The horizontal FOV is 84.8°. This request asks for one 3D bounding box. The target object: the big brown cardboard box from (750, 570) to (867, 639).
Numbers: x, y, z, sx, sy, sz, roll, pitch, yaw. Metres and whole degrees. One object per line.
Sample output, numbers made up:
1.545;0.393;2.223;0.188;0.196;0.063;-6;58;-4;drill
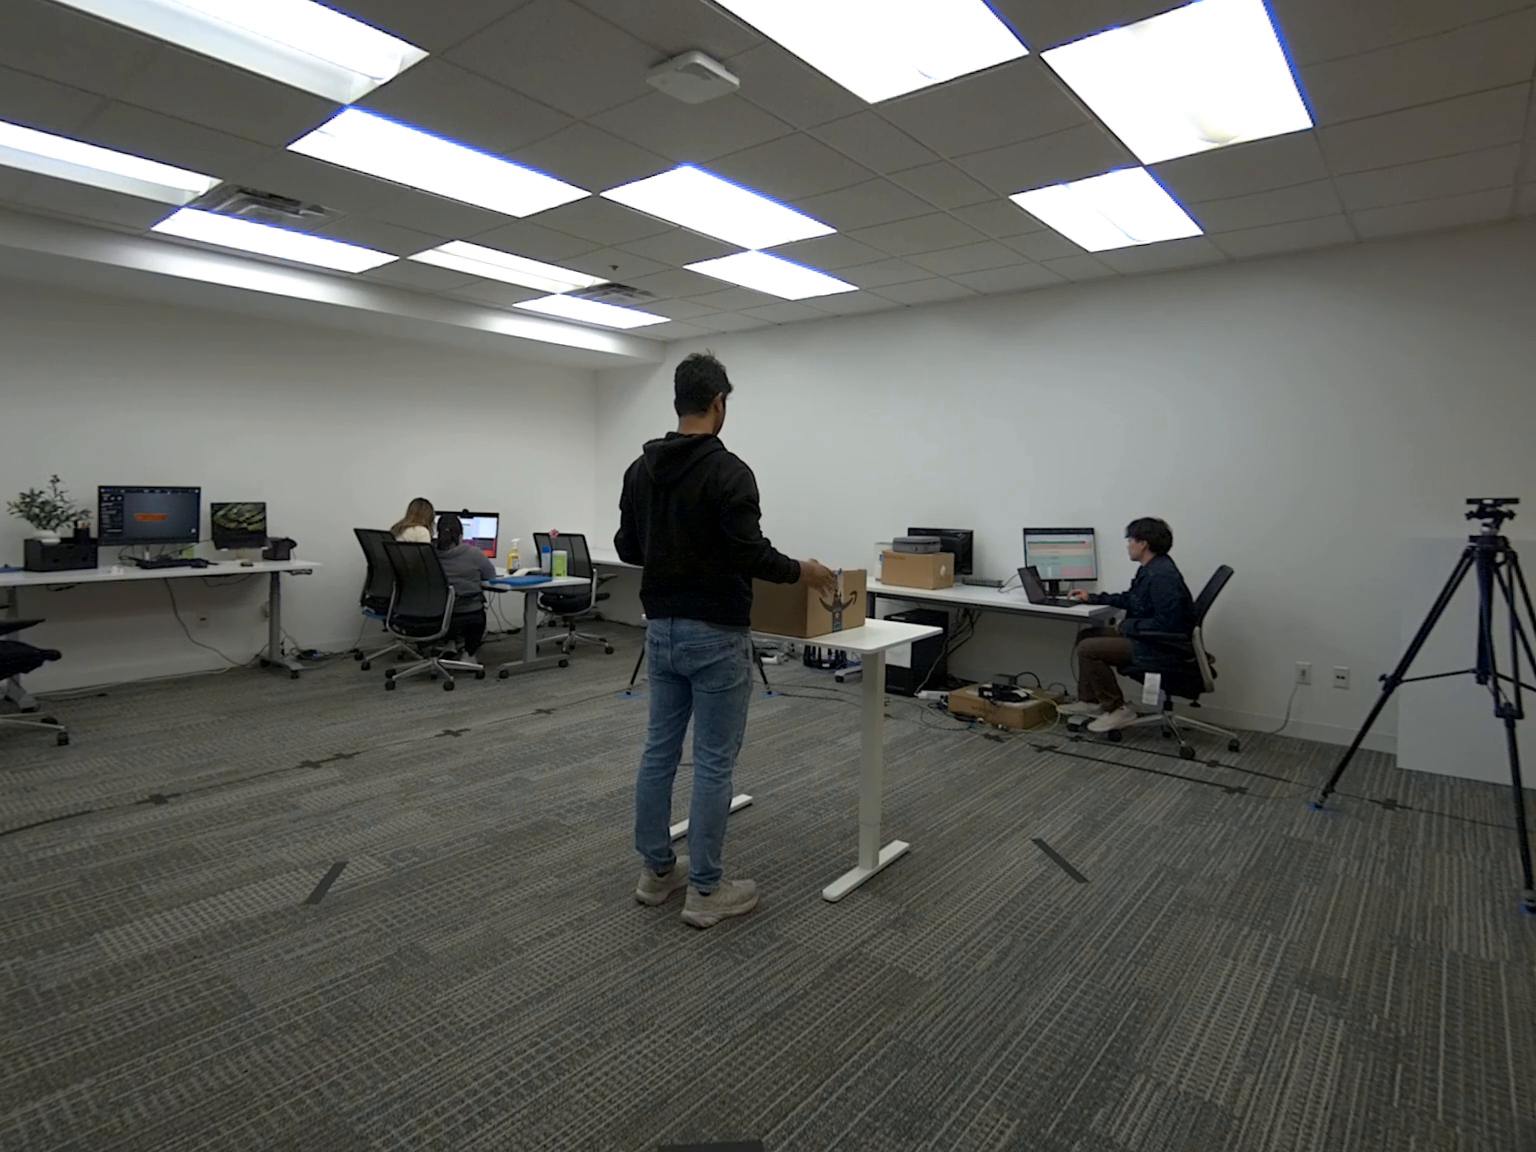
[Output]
0.011;0.066;3.232;0.609;0.232;0.406;6;7;37;big brown cardboard box
